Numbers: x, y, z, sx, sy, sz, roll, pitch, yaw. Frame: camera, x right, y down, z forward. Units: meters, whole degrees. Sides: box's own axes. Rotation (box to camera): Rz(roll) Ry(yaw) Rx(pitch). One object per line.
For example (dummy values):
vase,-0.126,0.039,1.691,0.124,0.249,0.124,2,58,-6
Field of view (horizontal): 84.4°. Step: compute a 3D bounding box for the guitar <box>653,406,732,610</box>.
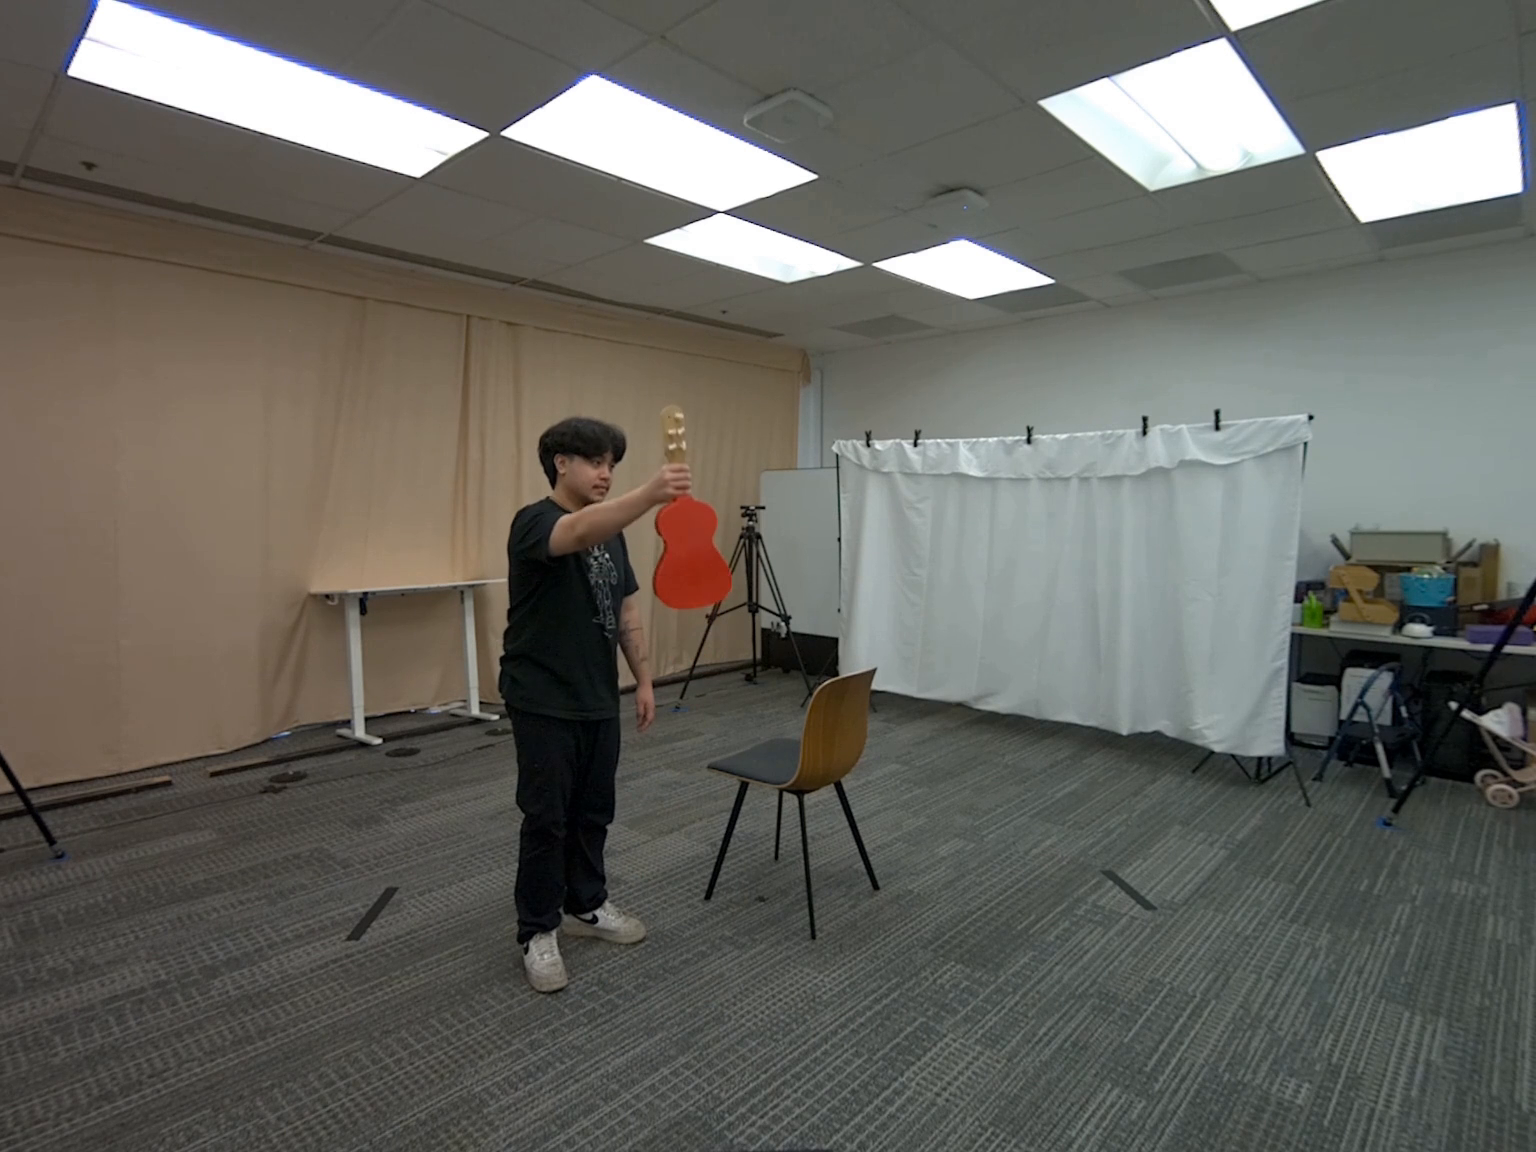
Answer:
guitar,-0.243,-0.161,2.099,0.192,0.494,0.071,-16,7,-8
